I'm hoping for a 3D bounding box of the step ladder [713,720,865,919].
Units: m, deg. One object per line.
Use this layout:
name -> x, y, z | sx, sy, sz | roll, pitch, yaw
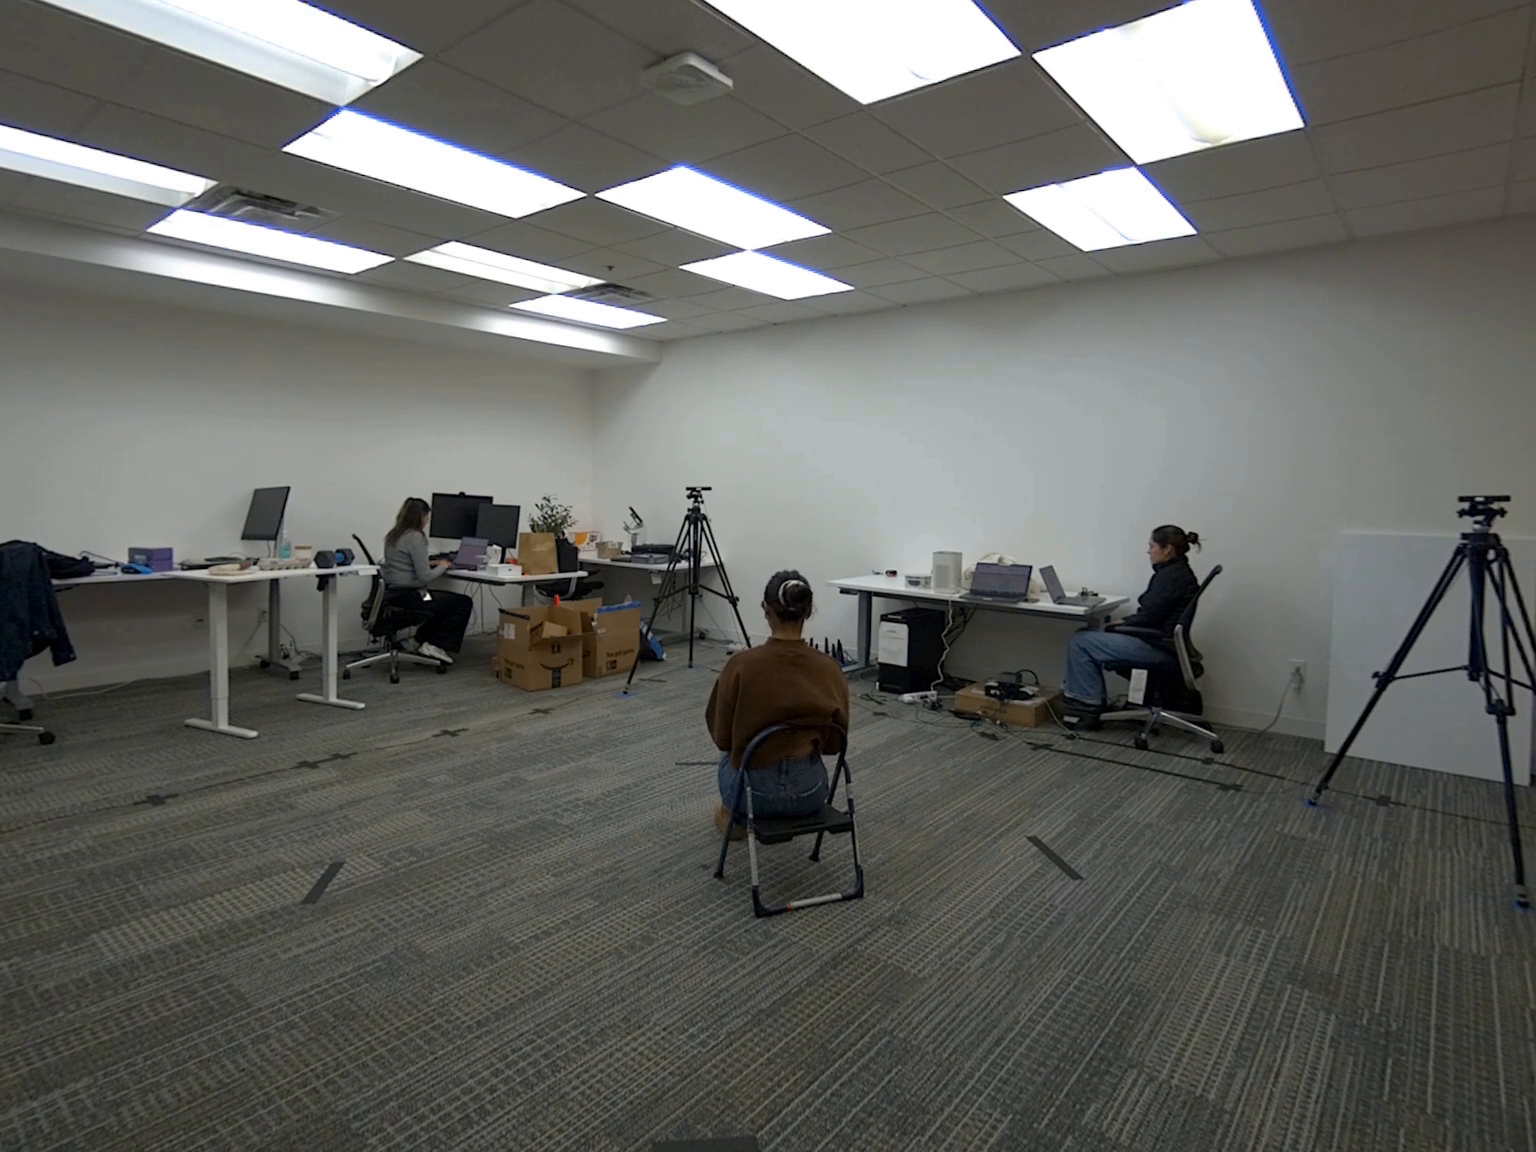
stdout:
step ladder -> 0.068, 0.788, 2.967 | 0.420, 0.604, 0.359 | -1, 4, -26
